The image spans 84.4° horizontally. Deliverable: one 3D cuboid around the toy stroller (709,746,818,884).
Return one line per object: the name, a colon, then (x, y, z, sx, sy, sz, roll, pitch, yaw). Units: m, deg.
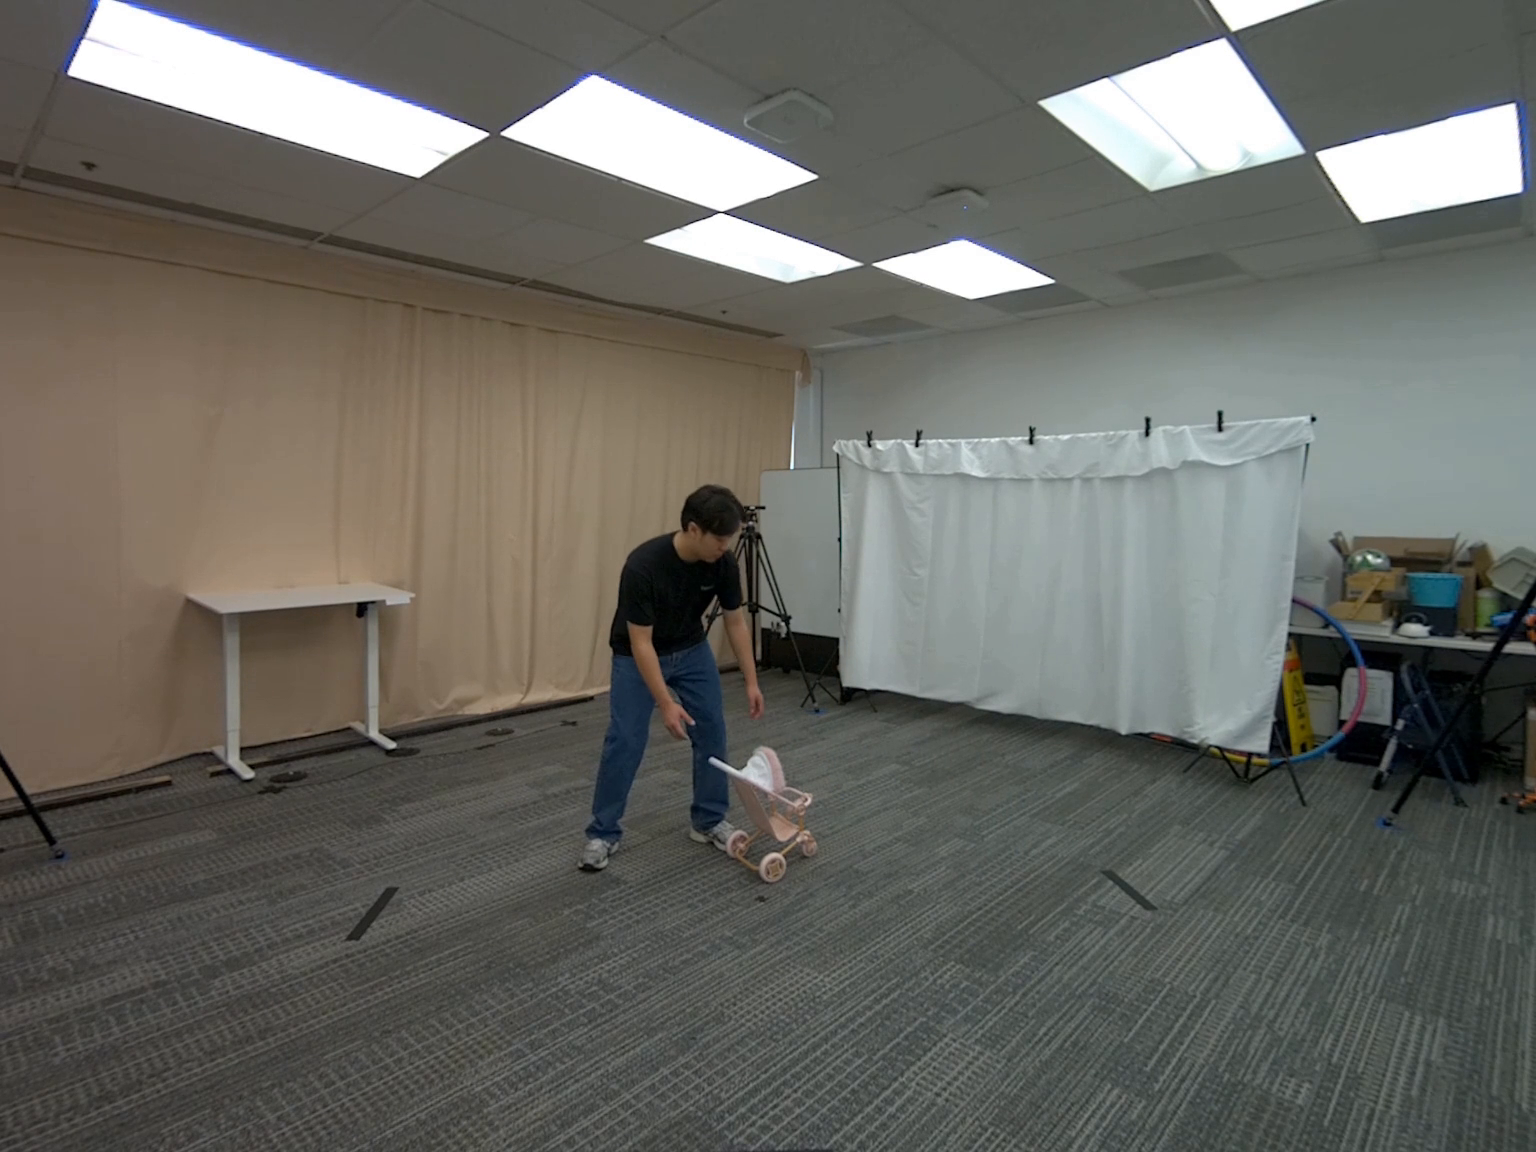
toy stroller: (0.011, 0.895, 3.238, 0.335, 0.531, 0.289, -18, 10, -26)
